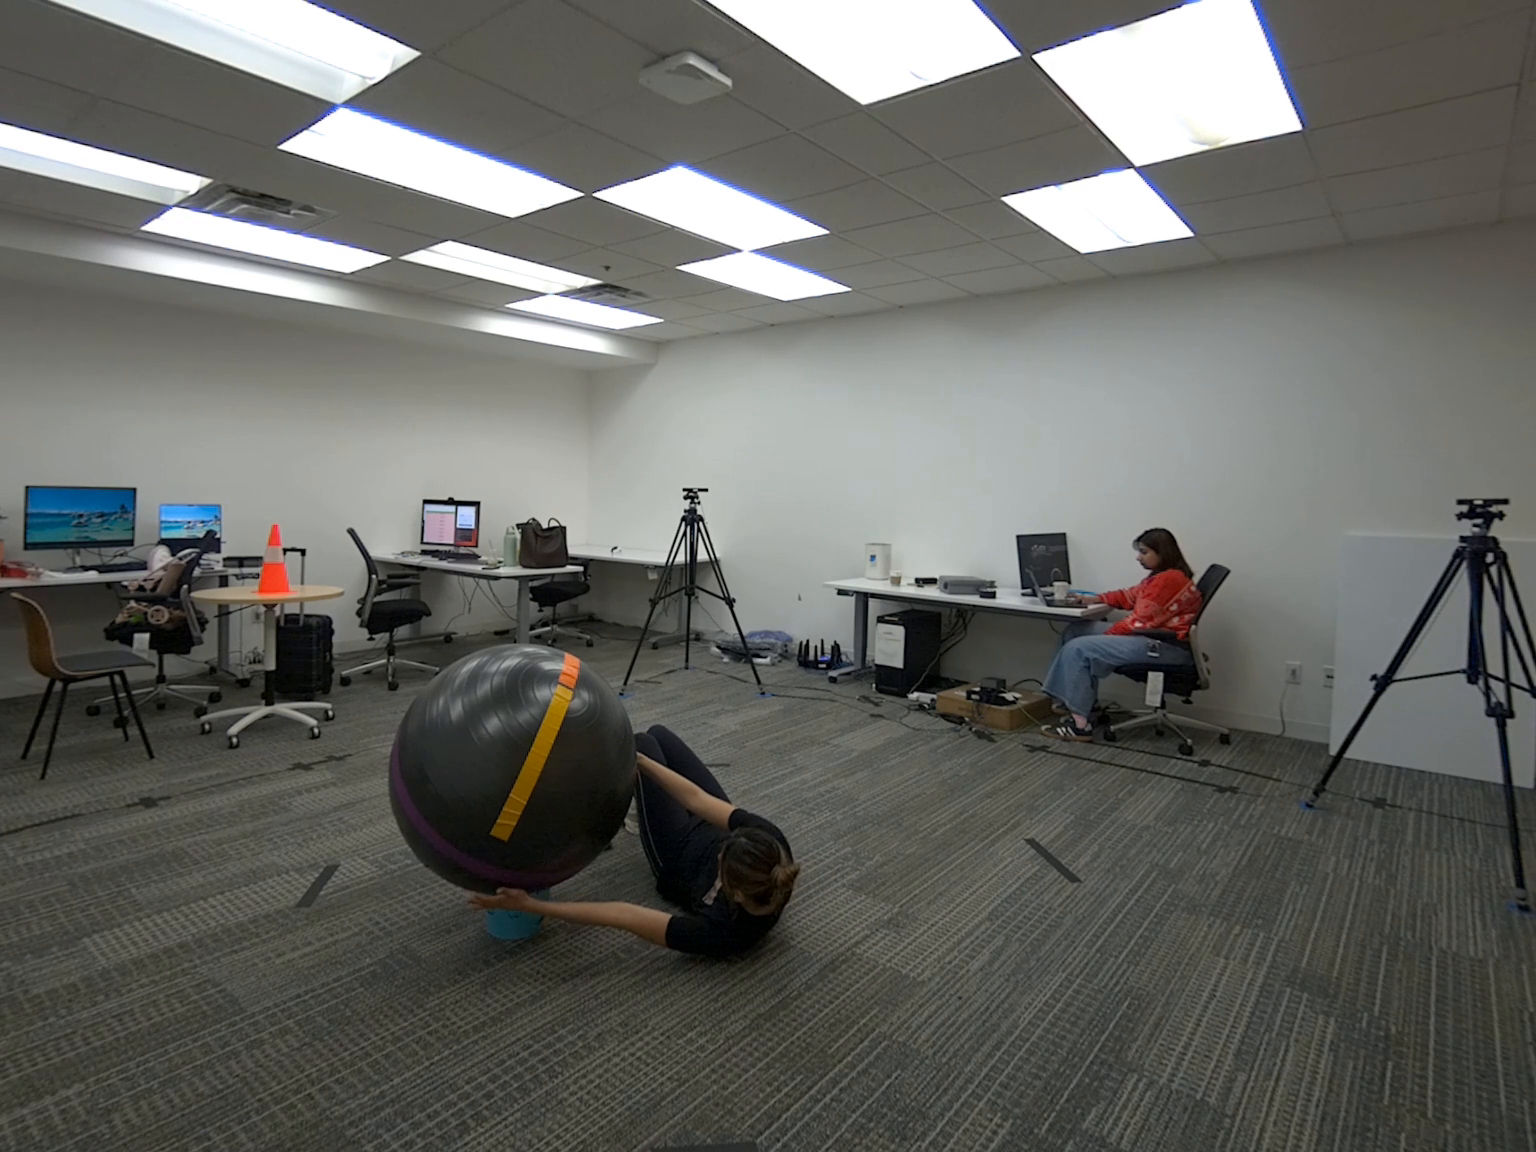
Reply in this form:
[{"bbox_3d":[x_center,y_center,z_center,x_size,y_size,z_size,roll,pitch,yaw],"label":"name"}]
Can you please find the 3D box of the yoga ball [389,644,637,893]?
[{"bbox_3d":[-0.796,0.597,2.664,0.757,0.756,0.761,-3,3,-2],"label":"yoga ball"}]
